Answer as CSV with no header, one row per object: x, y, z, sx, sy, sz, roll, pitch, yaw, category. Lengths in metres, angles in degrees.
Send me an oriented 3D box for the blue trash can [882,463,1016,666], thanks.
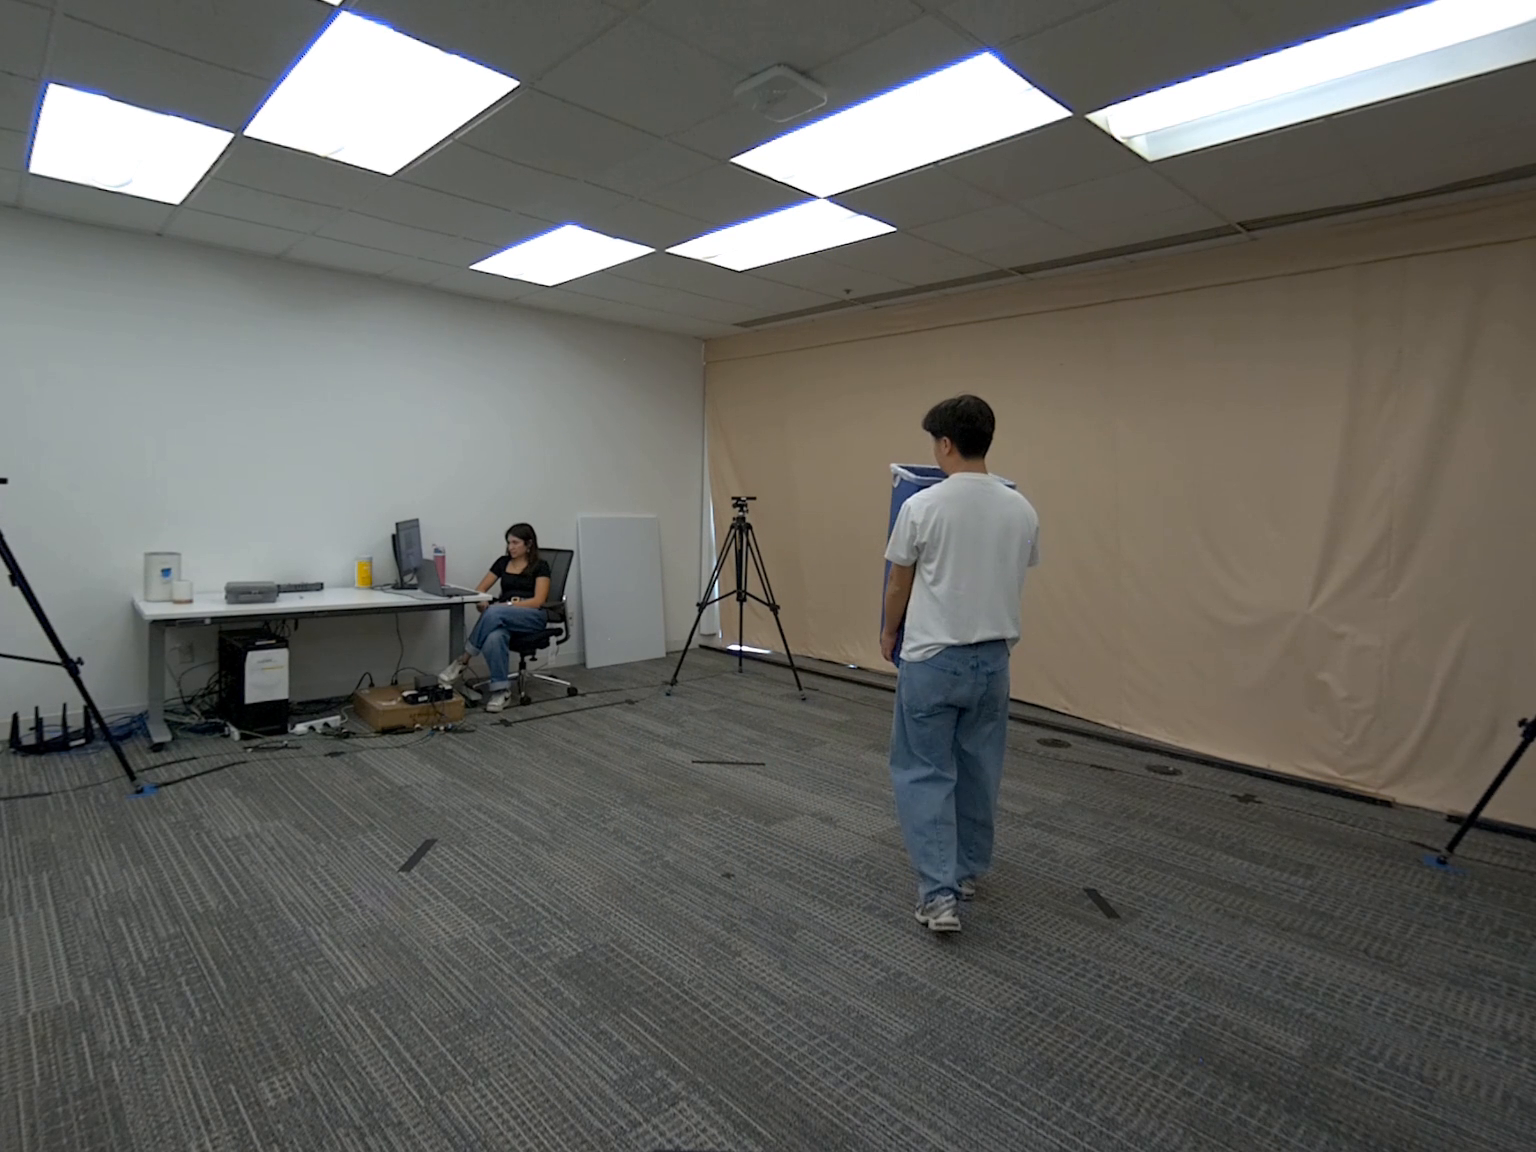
0.644,-0.037,3.140,0.373,0.707,0.383,3,12,-5,blue trash can
